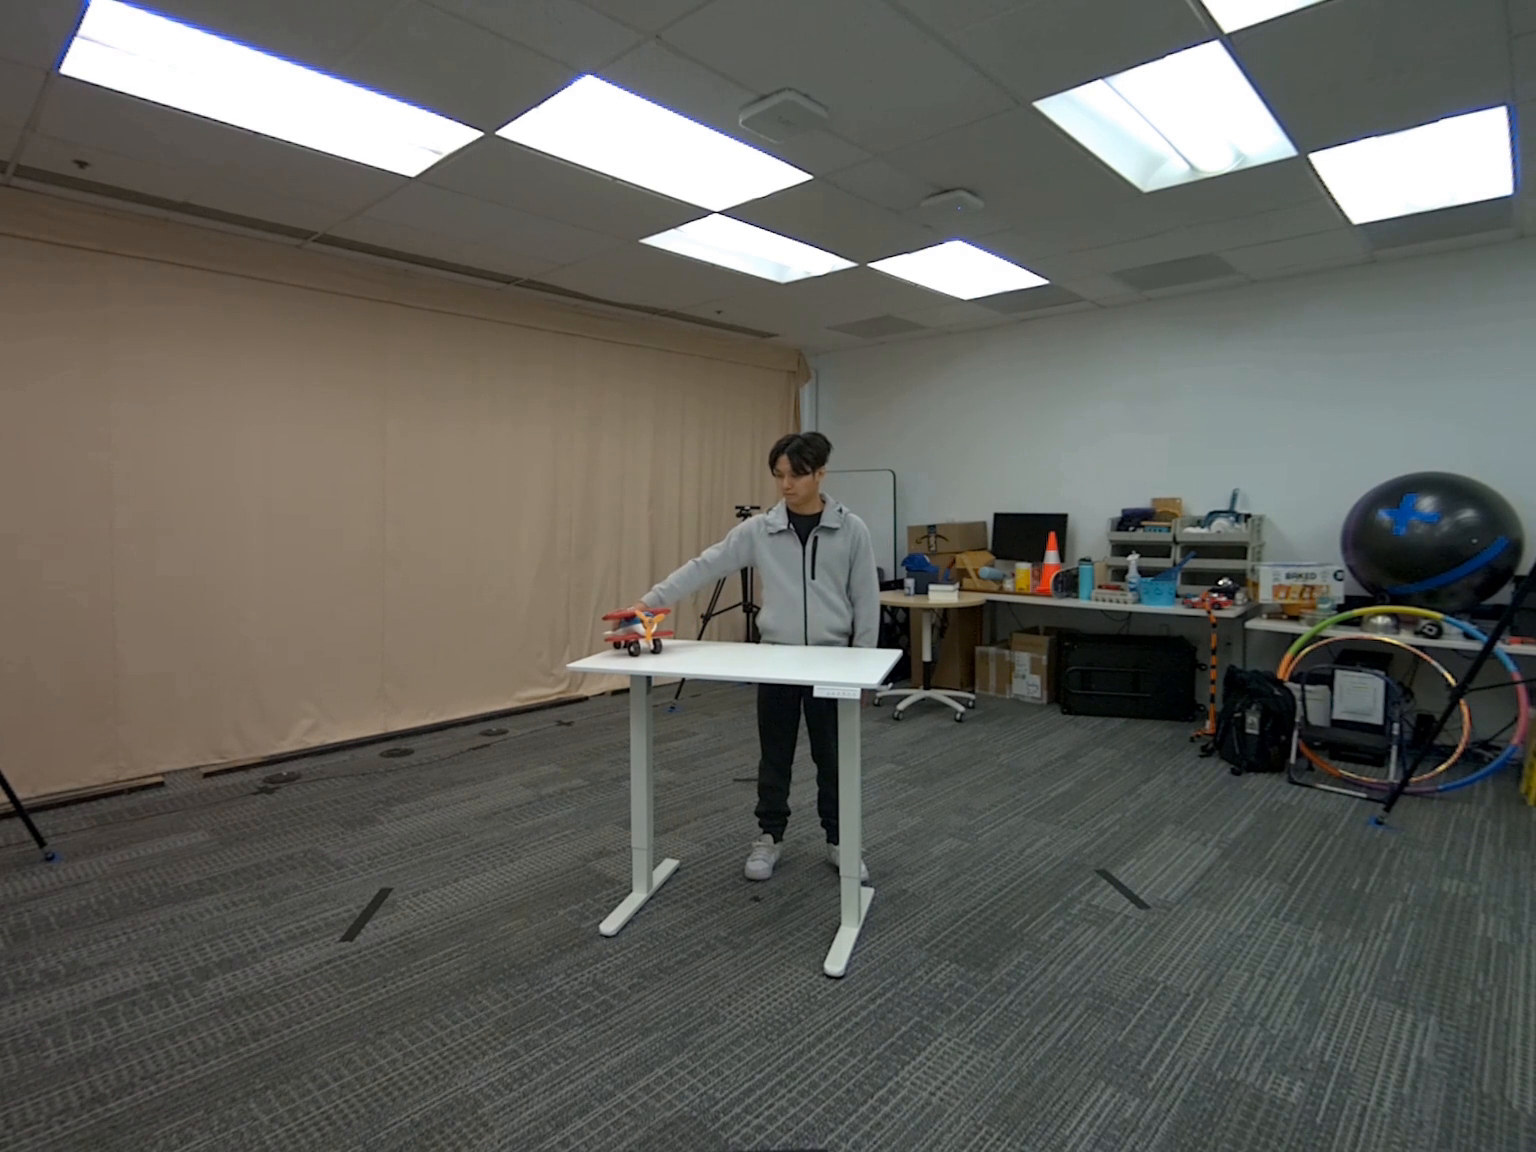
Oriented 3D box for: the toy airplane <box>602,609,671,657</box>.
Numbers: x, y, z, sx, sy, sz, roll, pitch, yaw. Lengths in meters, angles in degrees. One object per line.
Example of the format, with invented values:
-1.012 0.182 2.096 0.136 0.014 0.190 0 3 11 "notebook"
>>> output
-0.481 0.192 2.959 0.266 0.156 0.245 3 4 27 "toy airplane"
